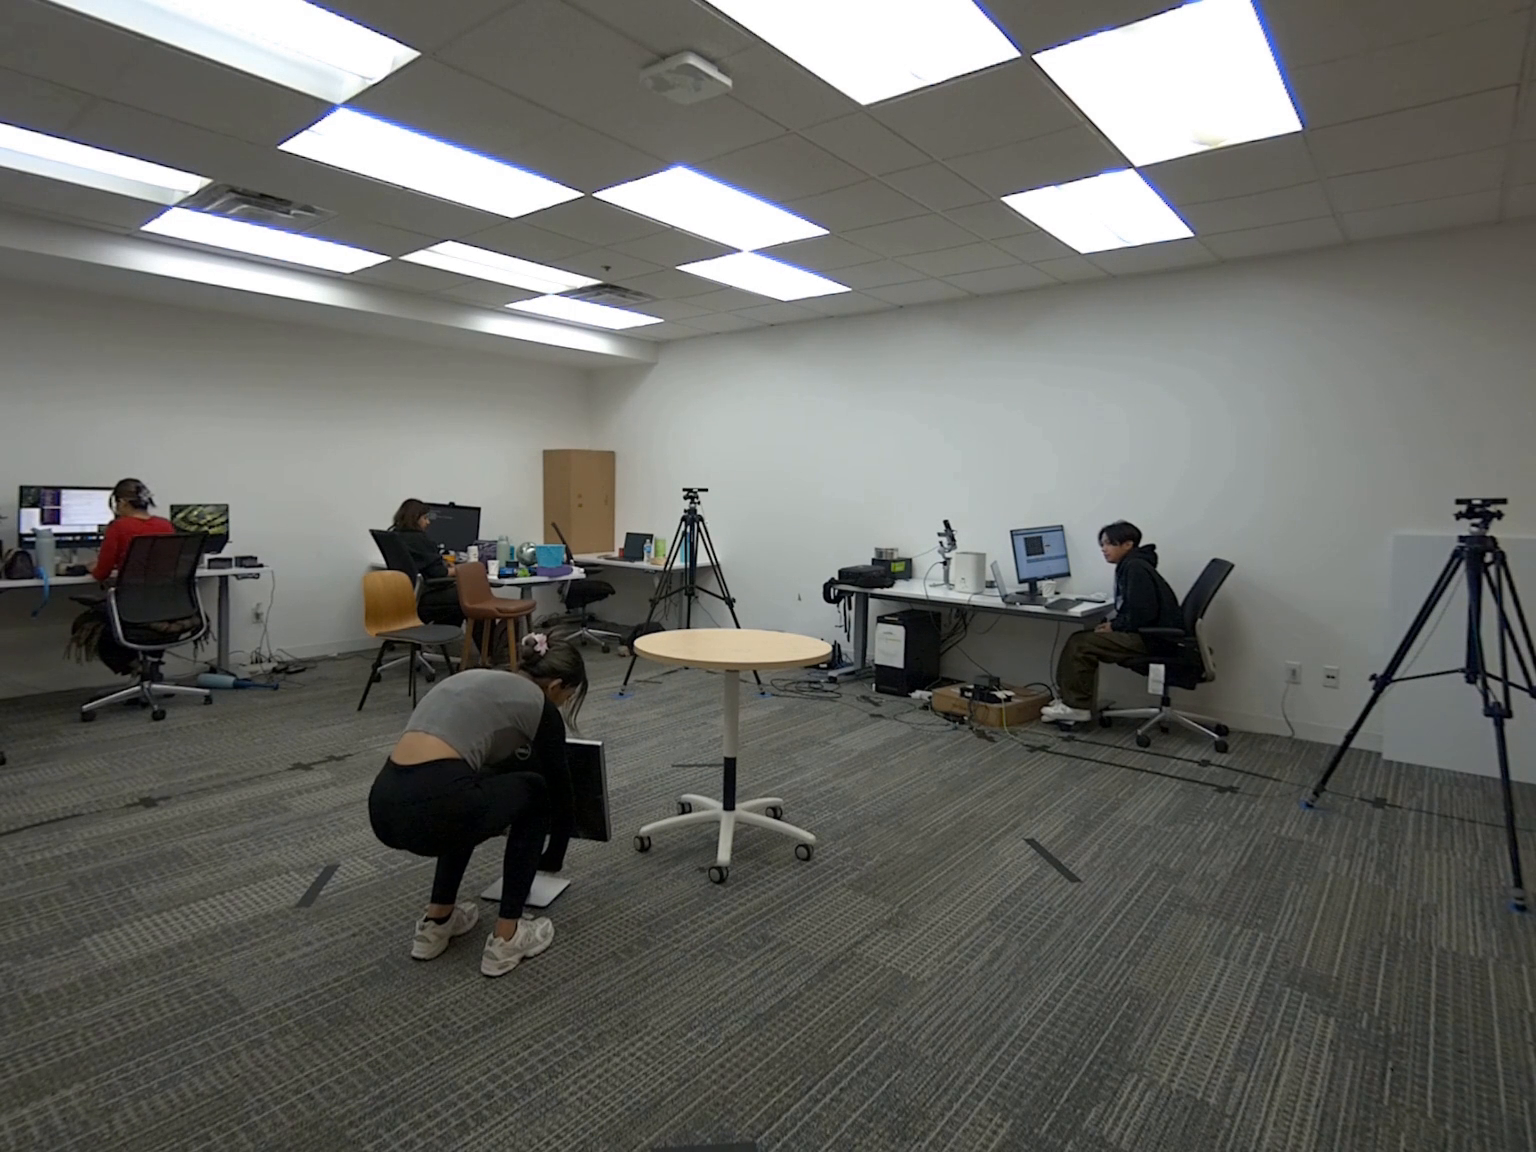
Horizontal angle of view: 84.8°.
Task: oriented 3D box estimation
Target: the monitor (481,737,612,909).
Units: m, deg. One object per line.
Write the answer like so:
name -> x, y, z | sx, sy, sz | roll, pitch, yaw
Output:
monitor -> -0.832, 0.811, 2.899 | 0.548, 0.522, 0.184 | 1, 2, 15
